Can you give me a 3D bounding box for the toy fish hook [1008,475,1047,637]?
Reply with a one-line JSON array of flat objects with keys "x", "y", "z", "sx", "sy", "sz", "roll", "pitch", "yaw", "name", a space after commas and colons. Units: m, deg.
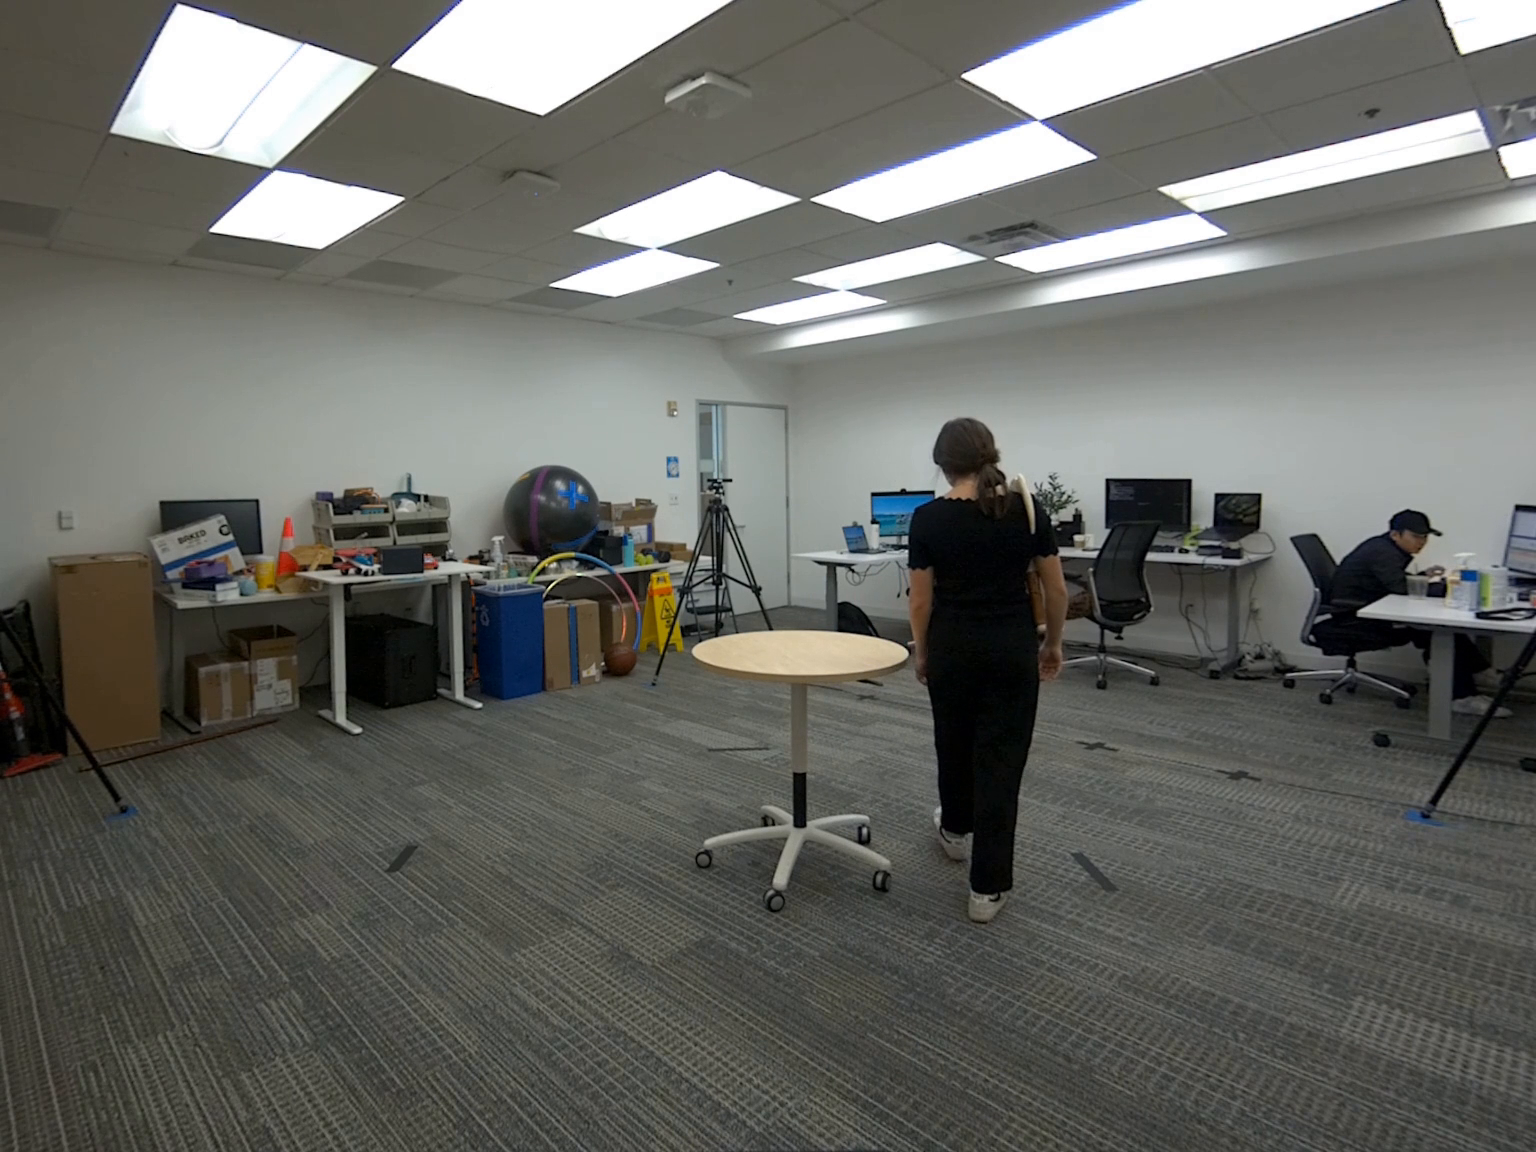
[{"x": 0.830, "y": -0.067, "z": 2.711, "sx": 0.049, "sy": 0.509, "sz": 0.222, "roll": -9, "pitch": -4, "yaw": 10, "name": "toy fish hook"}]
